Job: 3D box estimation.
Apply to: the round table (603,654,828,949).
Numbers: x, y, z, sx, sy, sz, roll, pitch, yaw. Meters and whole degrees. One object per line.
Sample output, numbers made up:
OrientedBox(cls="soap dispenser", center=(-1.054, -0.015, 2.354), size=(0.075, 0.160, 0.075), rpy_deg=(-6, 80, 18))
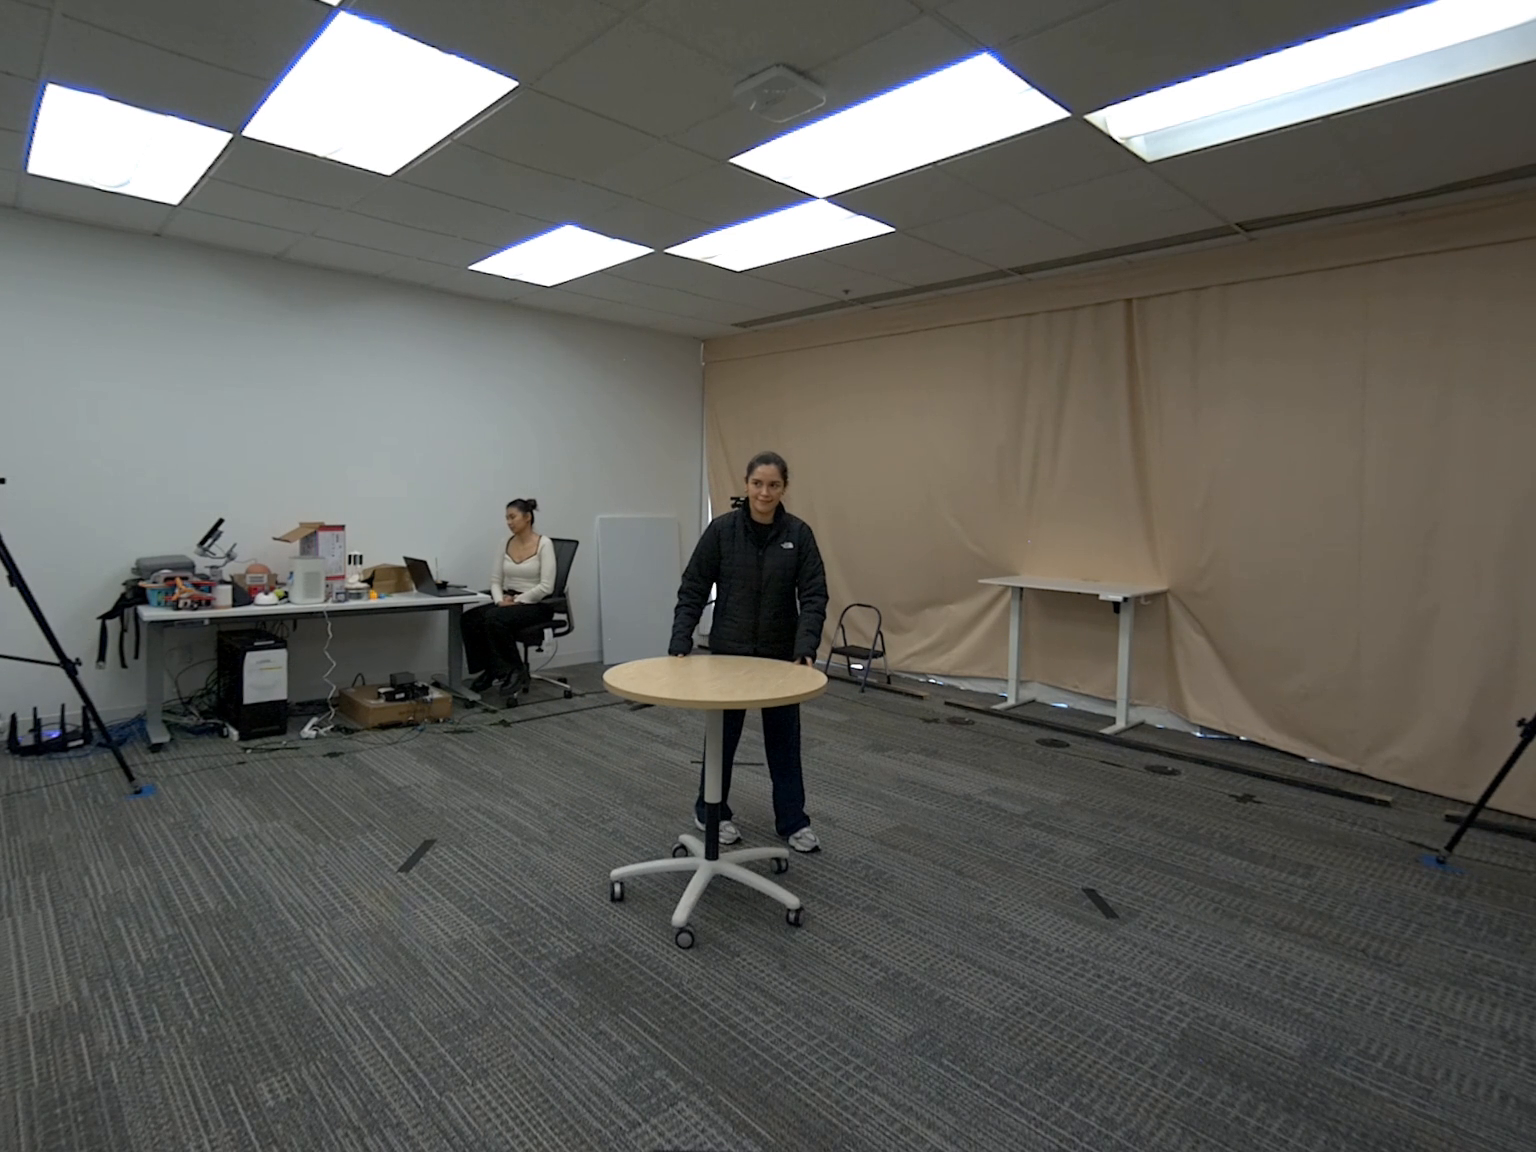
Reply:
OrientedBox(cls="round table", center=(-0.196, 0.731, 2.908), size=(0.784, 0.784, 0.788), rpy_deg=(1, 4, -1))
